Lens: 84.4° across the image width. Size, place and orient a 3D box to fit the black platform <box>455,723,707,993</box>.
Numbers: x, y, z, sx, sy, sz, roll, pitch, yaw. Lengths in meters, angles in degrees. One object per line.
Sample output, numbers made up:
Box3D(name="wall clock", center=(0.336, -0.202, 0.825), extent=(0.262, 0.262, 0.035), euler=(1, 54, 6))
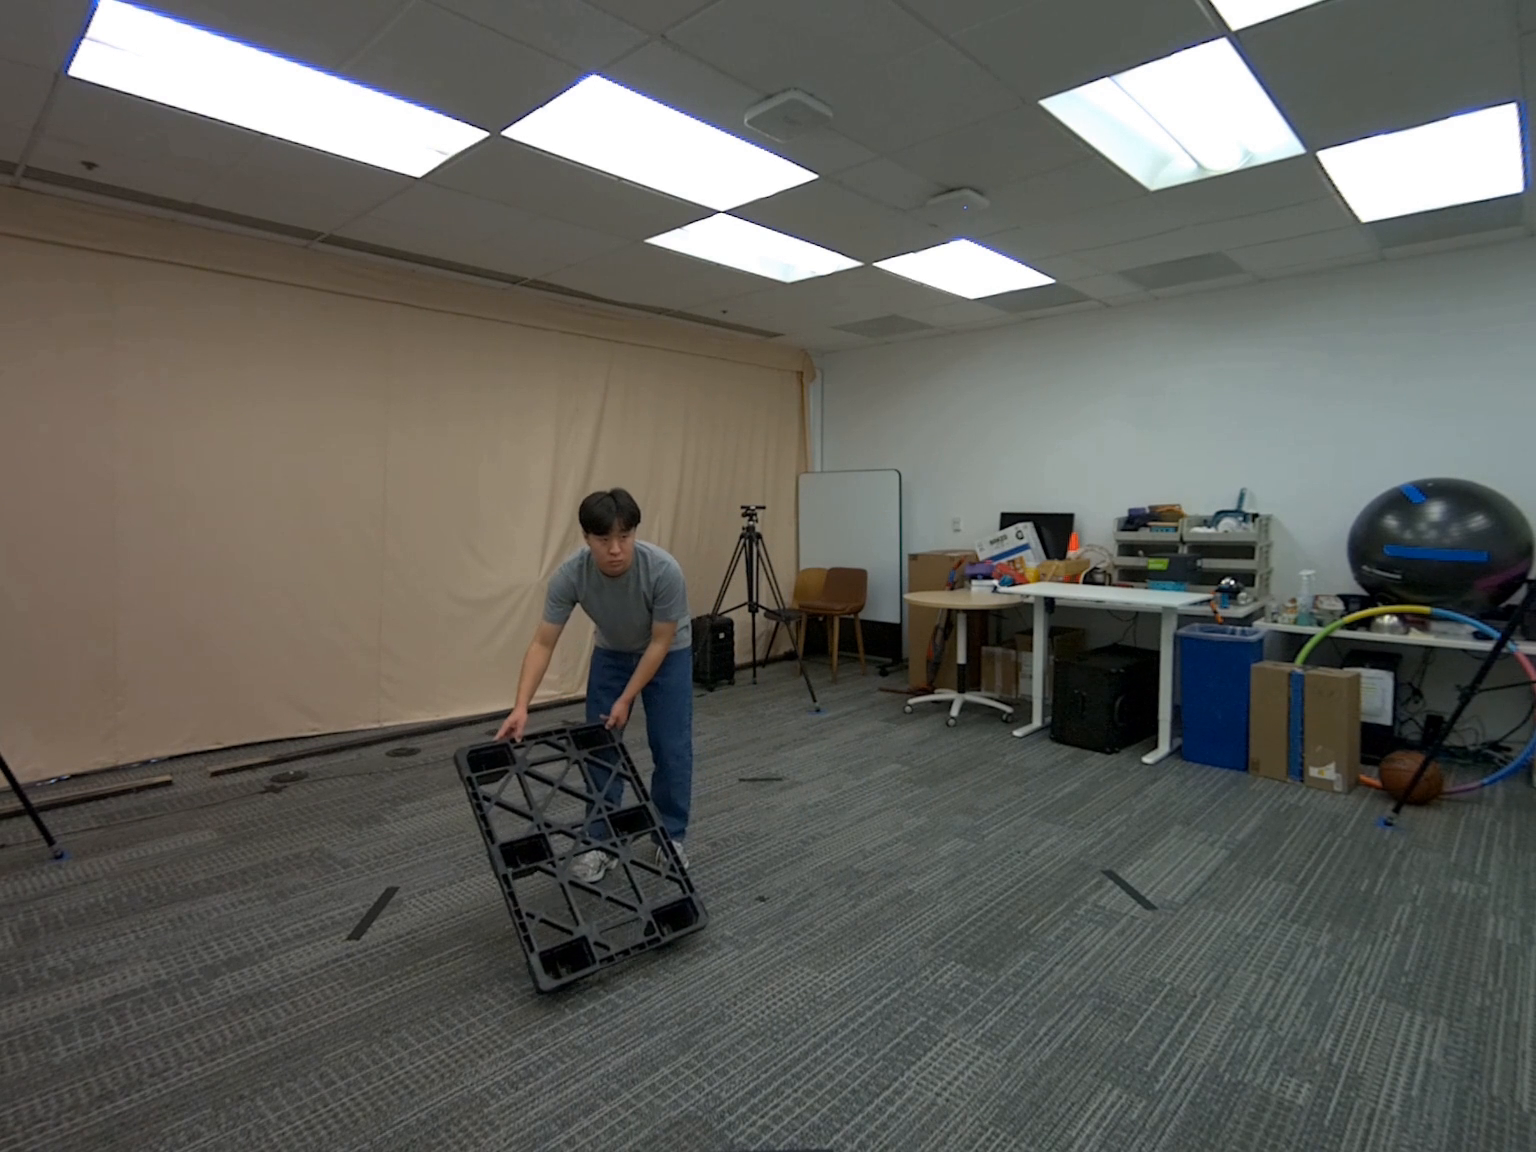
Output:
Box3D(name="black platform", center=(-0.621, 0.866, 2.731), extent=(0.587, 0.143, 0.830), euler=(-4, 48, -41))
